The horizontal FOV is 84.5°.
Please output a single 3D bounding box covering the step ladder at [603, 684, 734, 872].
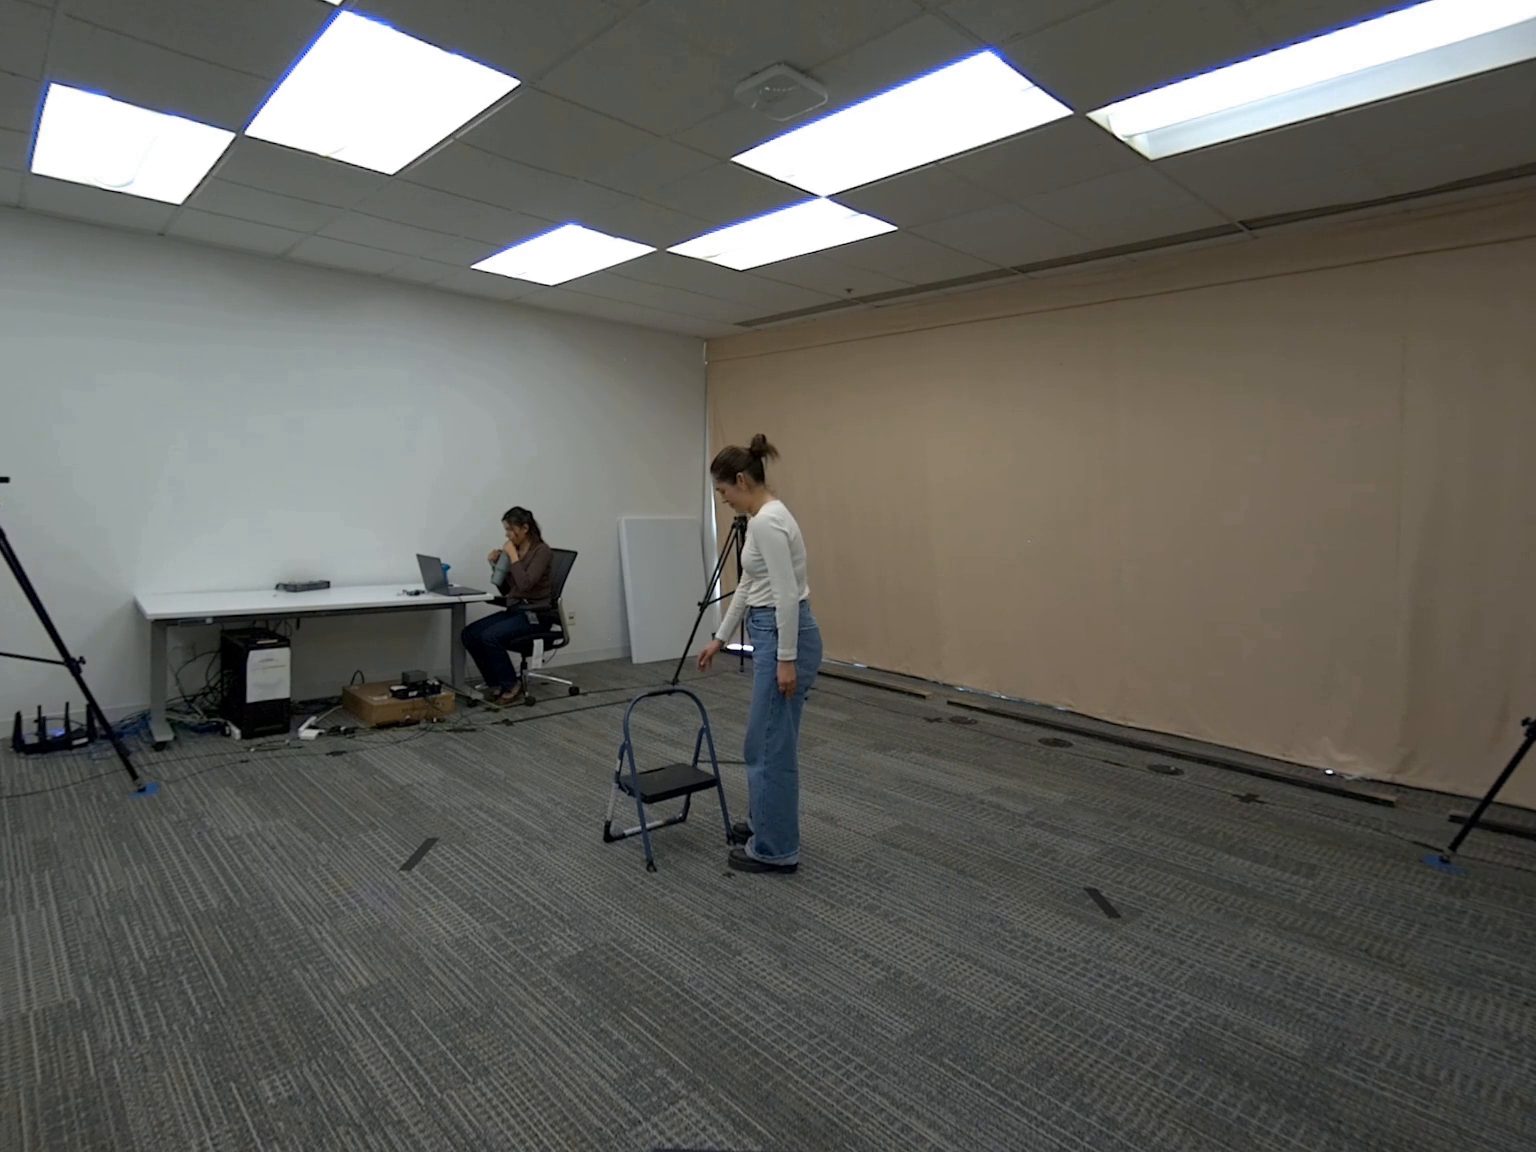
[{"bbox_3d":[-0.399,0.769,3.367,0.421,0.604,0.358,-2,5,-42],"label":"step ladder"}]
